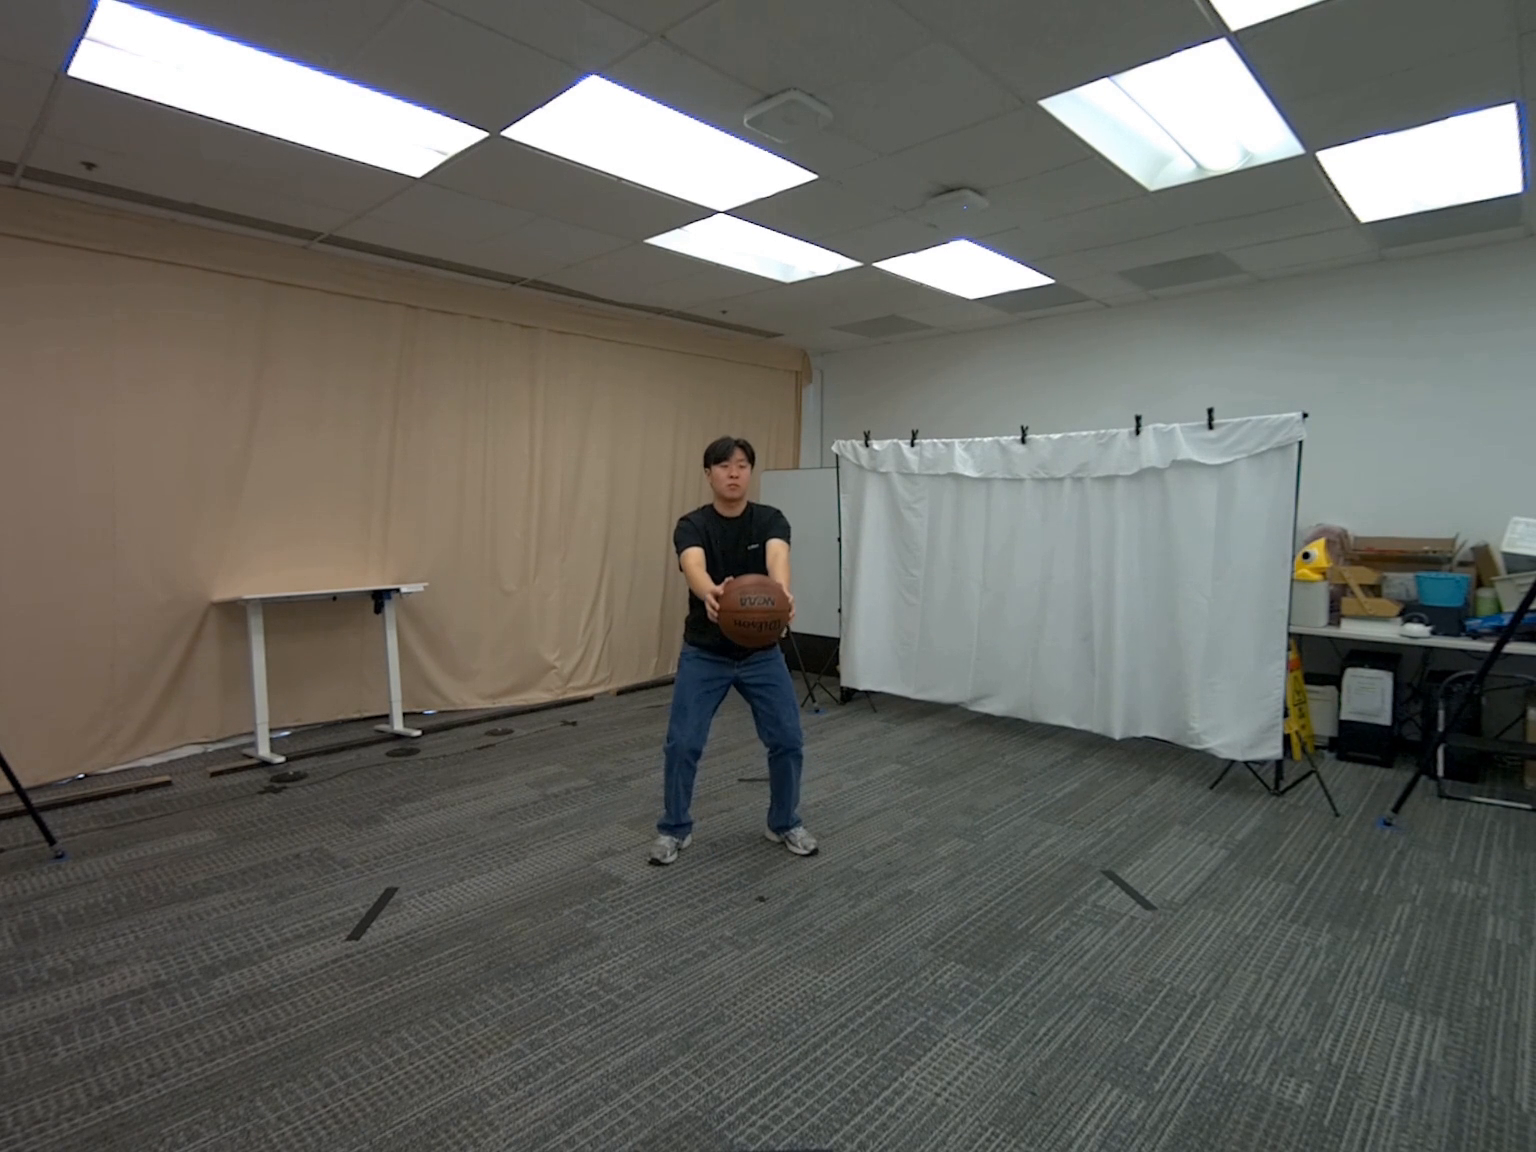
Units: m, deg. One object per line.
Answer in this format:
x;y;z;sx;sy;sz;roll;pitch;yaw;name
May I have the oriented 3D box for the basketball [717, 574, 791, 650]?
-0.050;0.122;2.738;0.236;0.235;0.237;0;4;-2;basketball
